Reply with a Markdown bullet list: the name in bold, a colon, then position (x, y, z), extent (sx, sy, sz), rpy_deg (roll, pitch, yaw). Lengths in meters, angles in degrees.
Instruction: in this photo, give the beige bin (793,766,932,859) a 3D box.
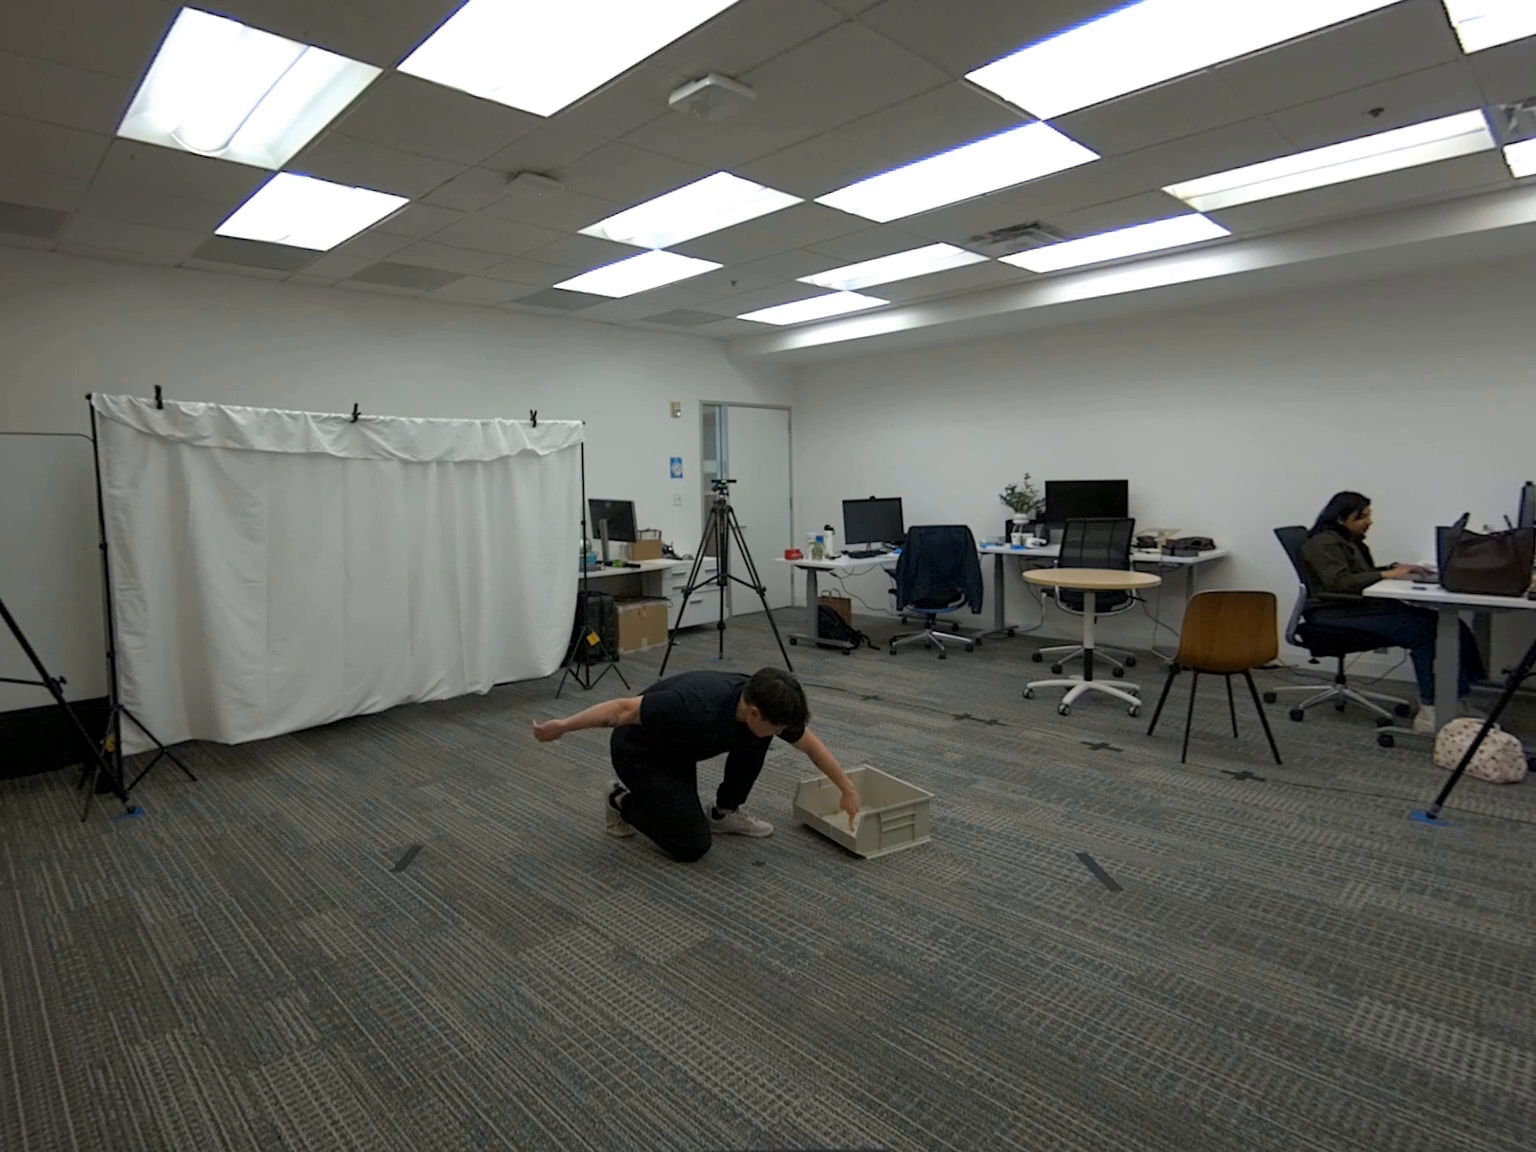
- **beige bin**: position (0.364, 0.916, 3.356), extent (0.368, 0.188, 0.434), rpy_deg (-4, 6, -31)
